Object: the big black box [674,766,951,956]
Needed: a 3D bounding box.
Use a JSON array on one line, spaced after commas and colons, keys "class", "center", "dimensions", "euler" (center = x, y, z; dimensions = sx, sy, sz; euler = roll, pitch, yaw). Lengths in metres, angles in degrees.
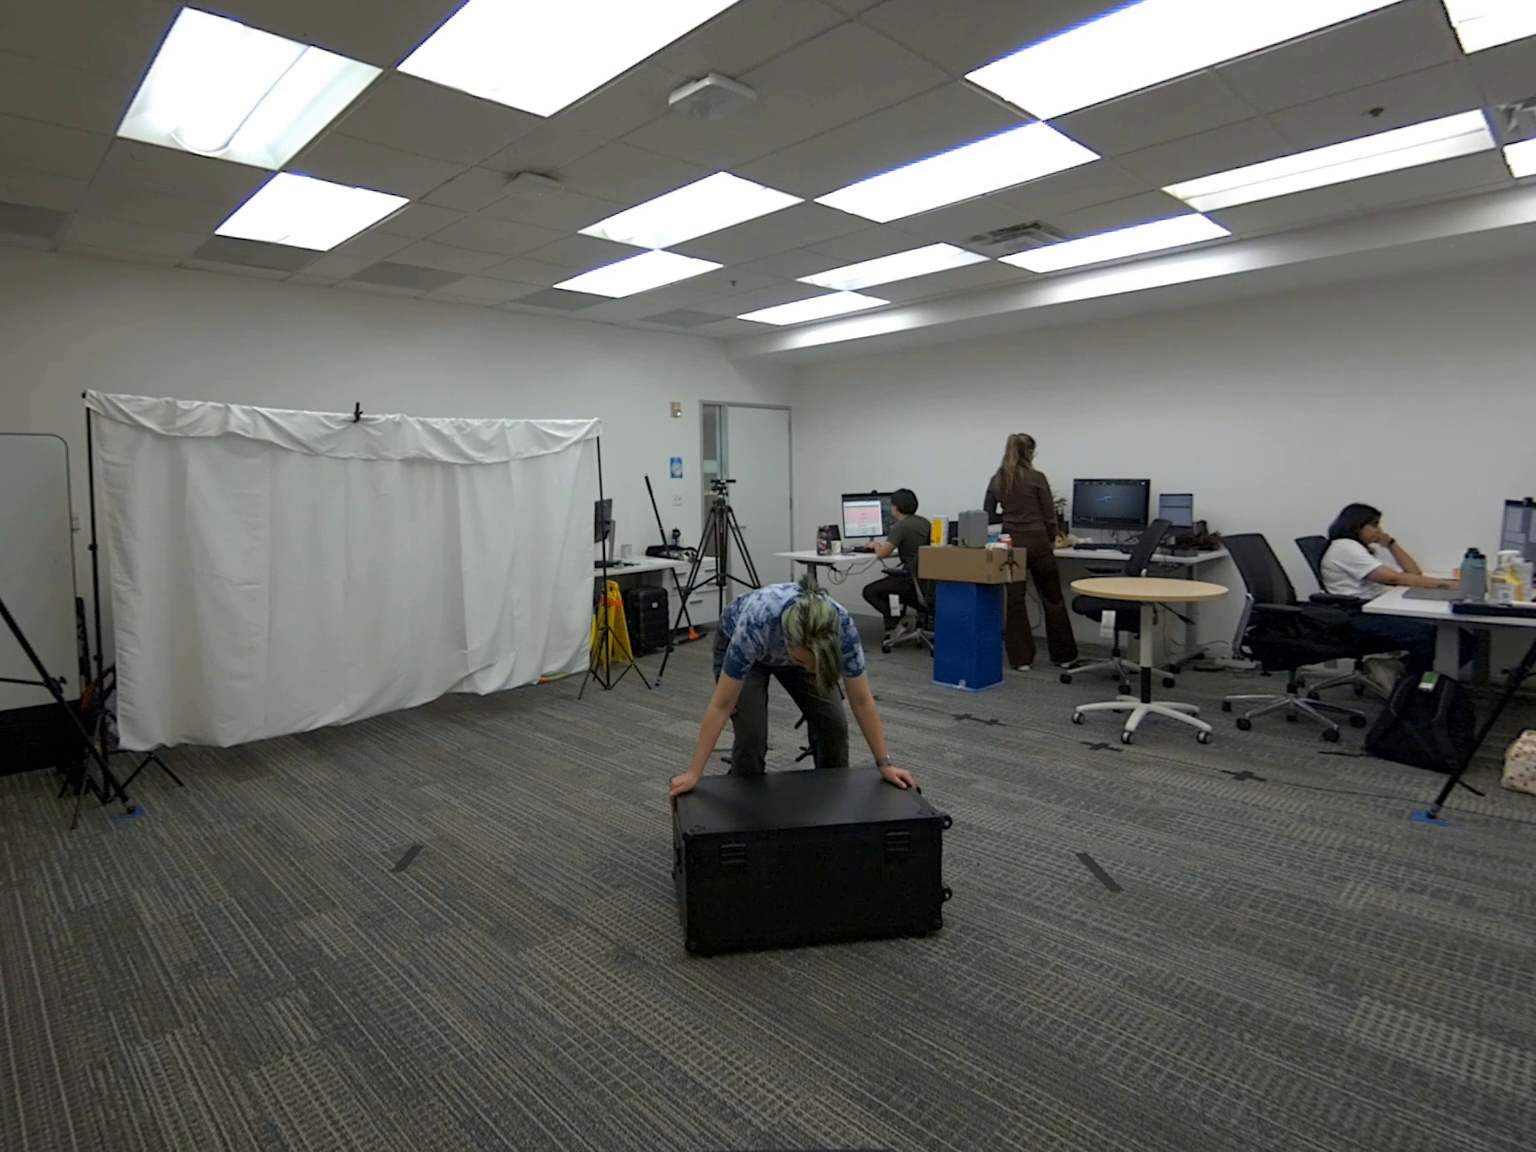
[{"class": "big black box", "center": [0.079, 0.892, 2.755], "dimensions": [0.854, 0.395, 0.528], "euler": [-2, 5, -9]}]
